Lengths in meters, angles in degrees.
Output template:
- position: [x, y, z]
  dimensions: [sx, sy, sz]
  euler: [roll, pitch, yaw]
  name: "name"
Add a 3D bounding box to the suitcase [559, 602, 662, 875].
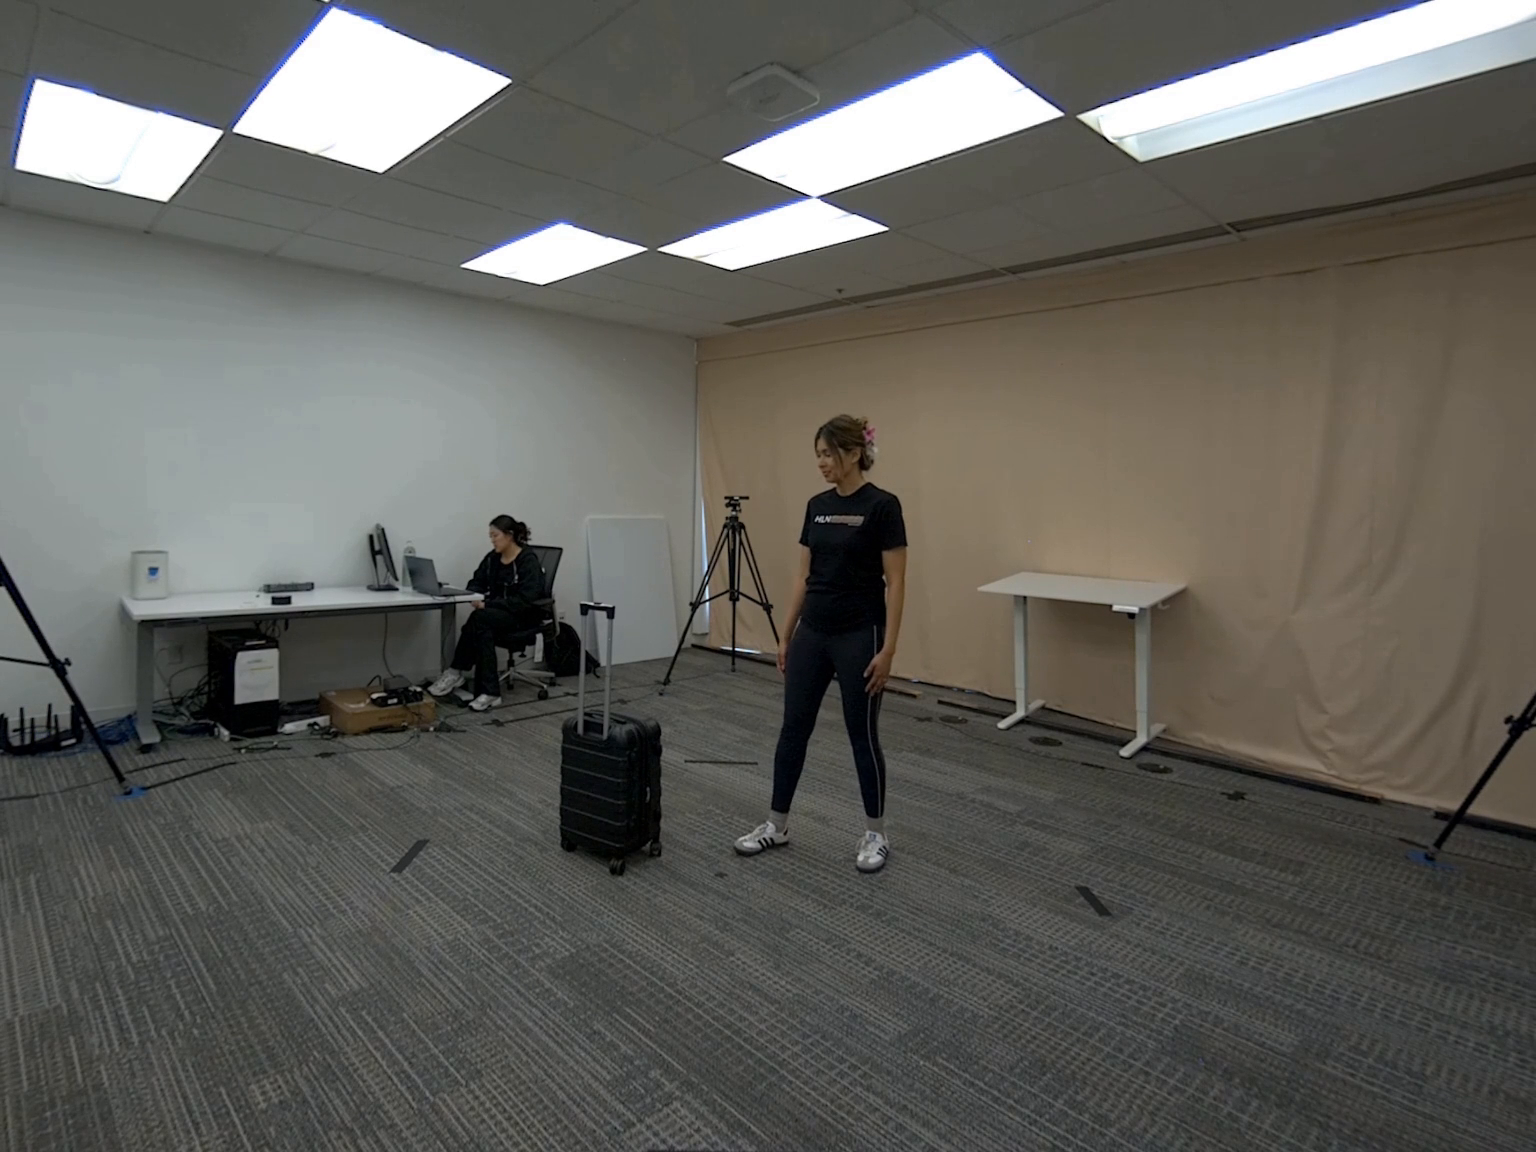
- position: [-0.618, 0.606, 3.255]
  dimensions: [0.392, 0.978, 0.251]
  euler: [2, 1, 30]
  name: "suitcase"
